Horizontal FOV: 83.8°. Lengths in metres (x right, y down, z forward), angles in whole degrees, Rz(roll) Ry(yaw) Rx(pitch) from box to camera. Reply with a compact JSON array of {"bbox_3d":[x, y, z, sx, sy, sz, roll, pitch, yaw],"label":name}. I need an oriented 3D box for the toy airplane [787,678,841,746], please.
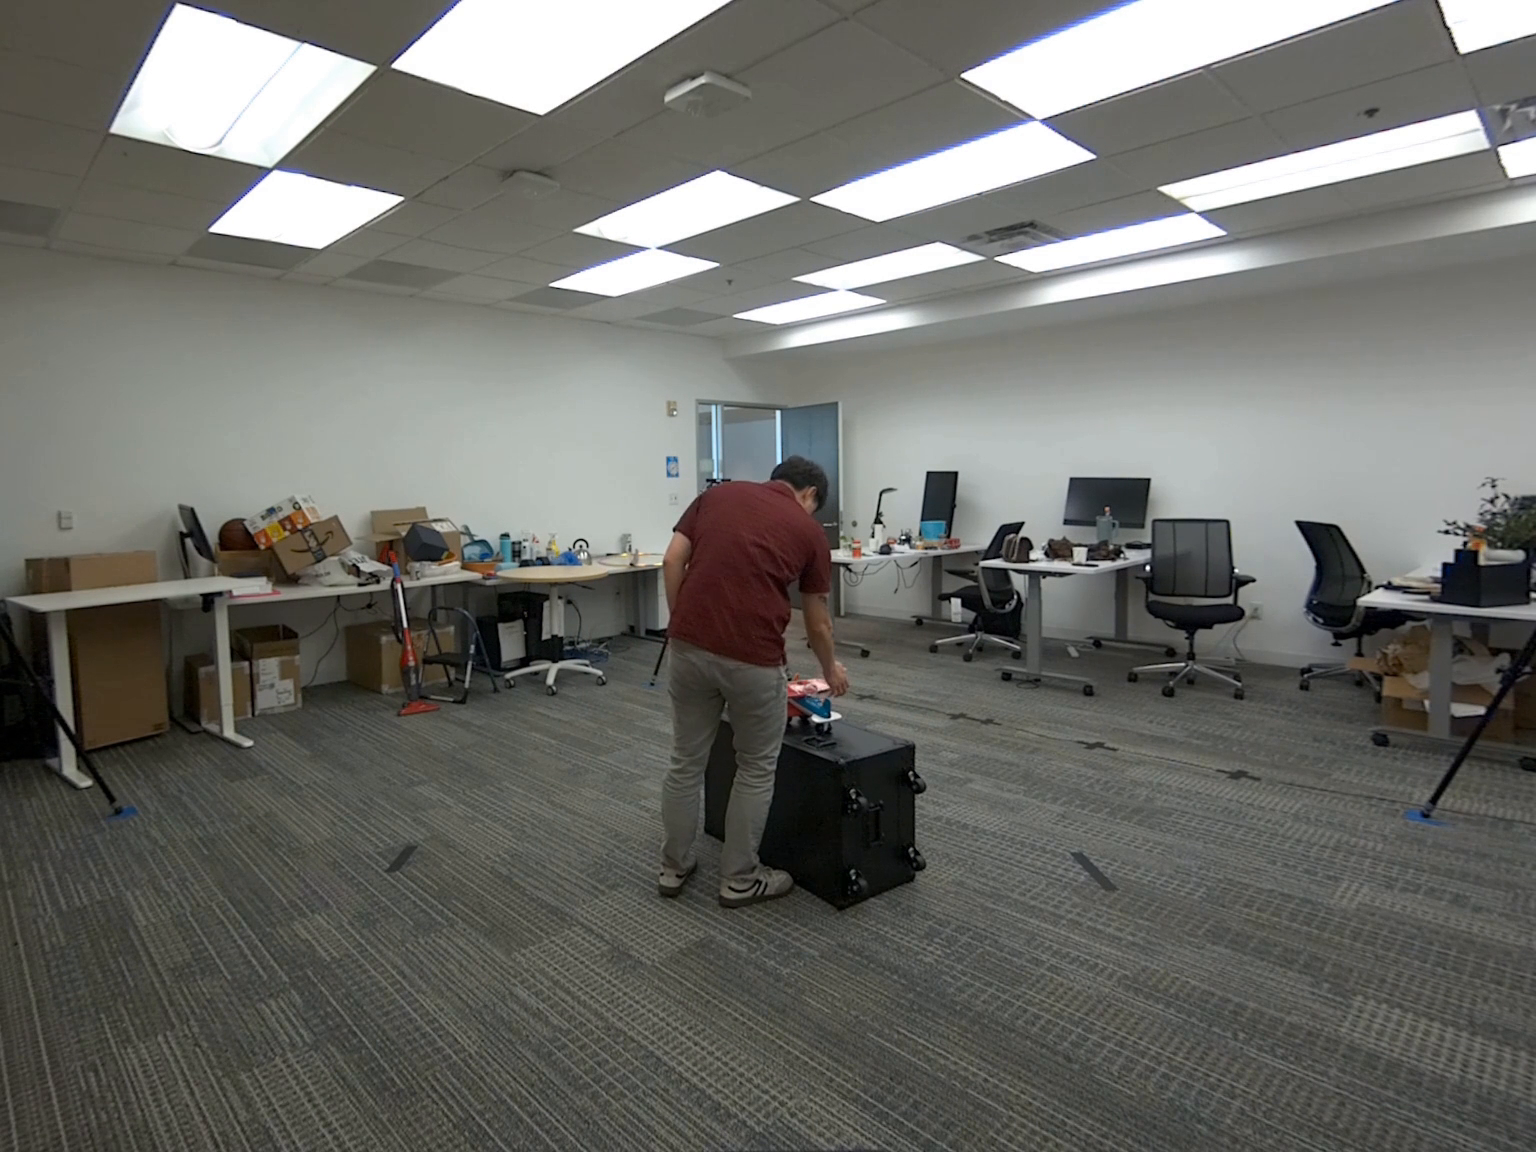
[{"bbox_3d":[0.165,0.476,3.150,0.266,0.156,0.245,2,6,32],"label":"toy airplane"}]
